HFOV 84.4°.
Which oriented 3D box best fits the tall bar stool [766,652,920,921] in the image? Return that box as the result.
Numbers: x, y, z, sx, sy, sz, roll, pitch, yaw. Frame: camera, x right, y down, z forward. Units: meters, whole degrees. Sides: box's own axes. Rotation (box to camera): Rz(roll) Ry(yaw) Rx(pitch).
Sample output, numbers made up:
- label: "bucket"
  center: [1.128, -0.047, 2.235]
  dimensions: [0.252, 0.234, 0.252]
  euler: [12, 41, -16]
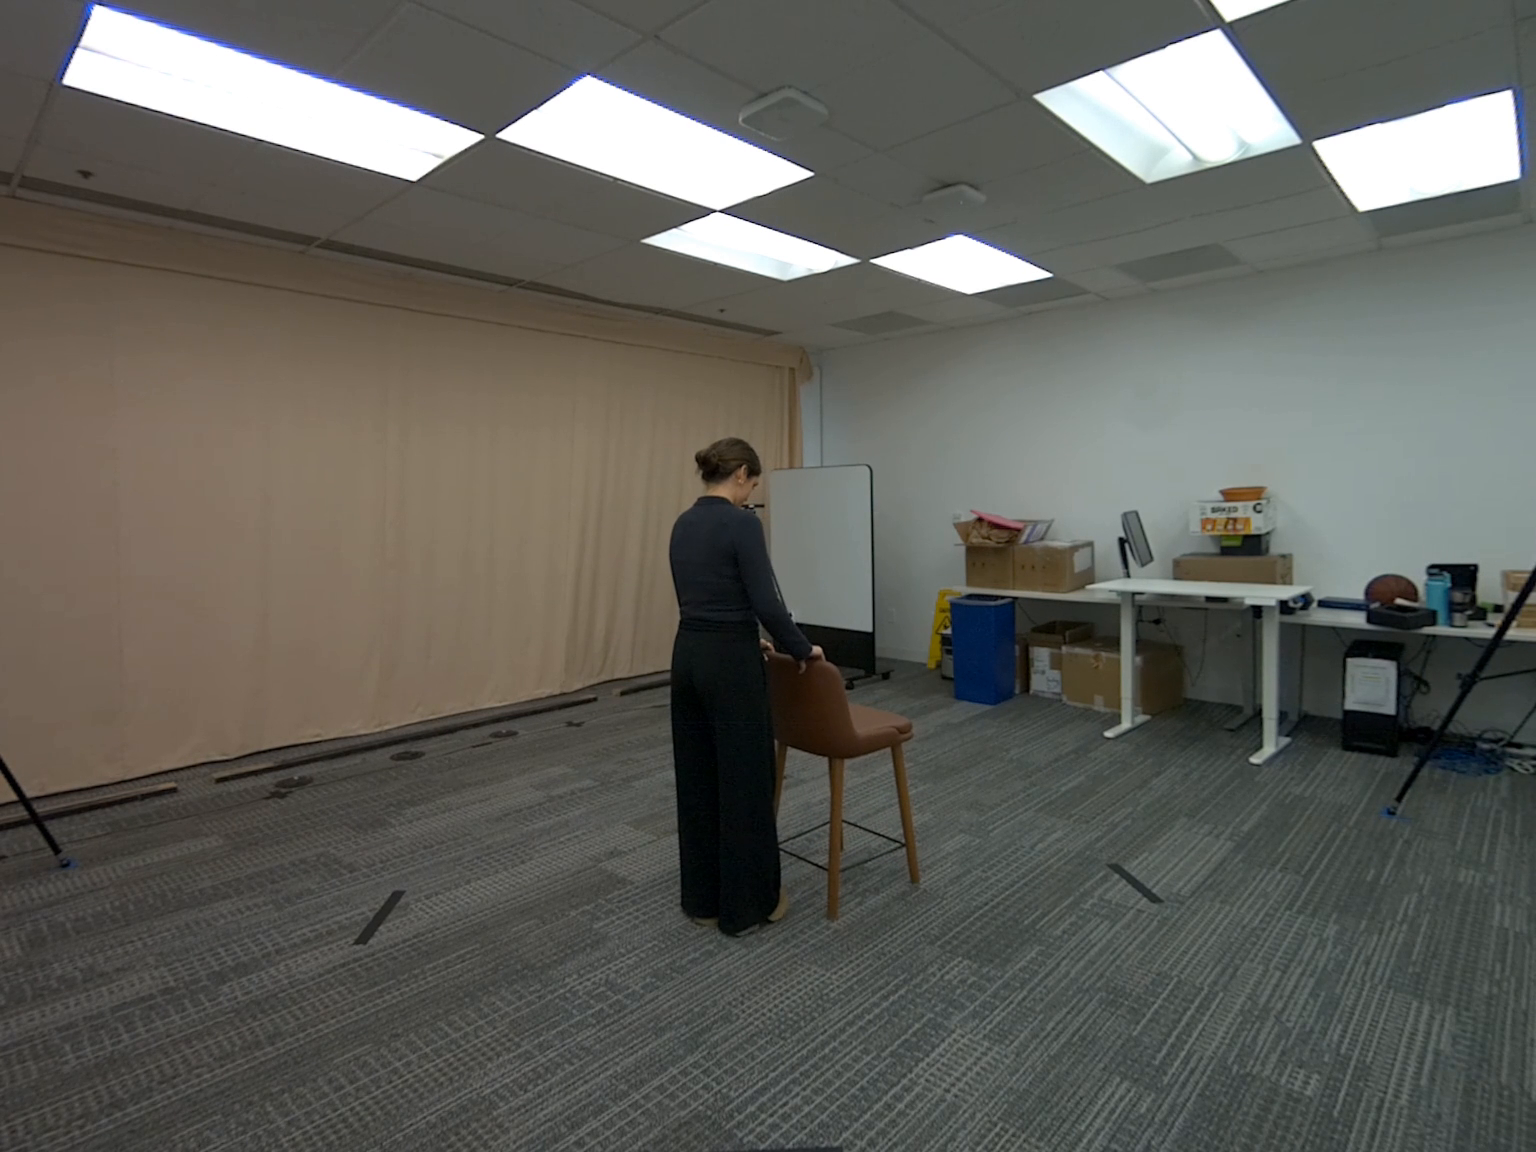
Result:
- label: "tall bar stool"
  center: [0.240, 0.687, 3.061]
  dimensions: [0.454, 0.887, 0.471]
  euler: [-7, 7, -40]
